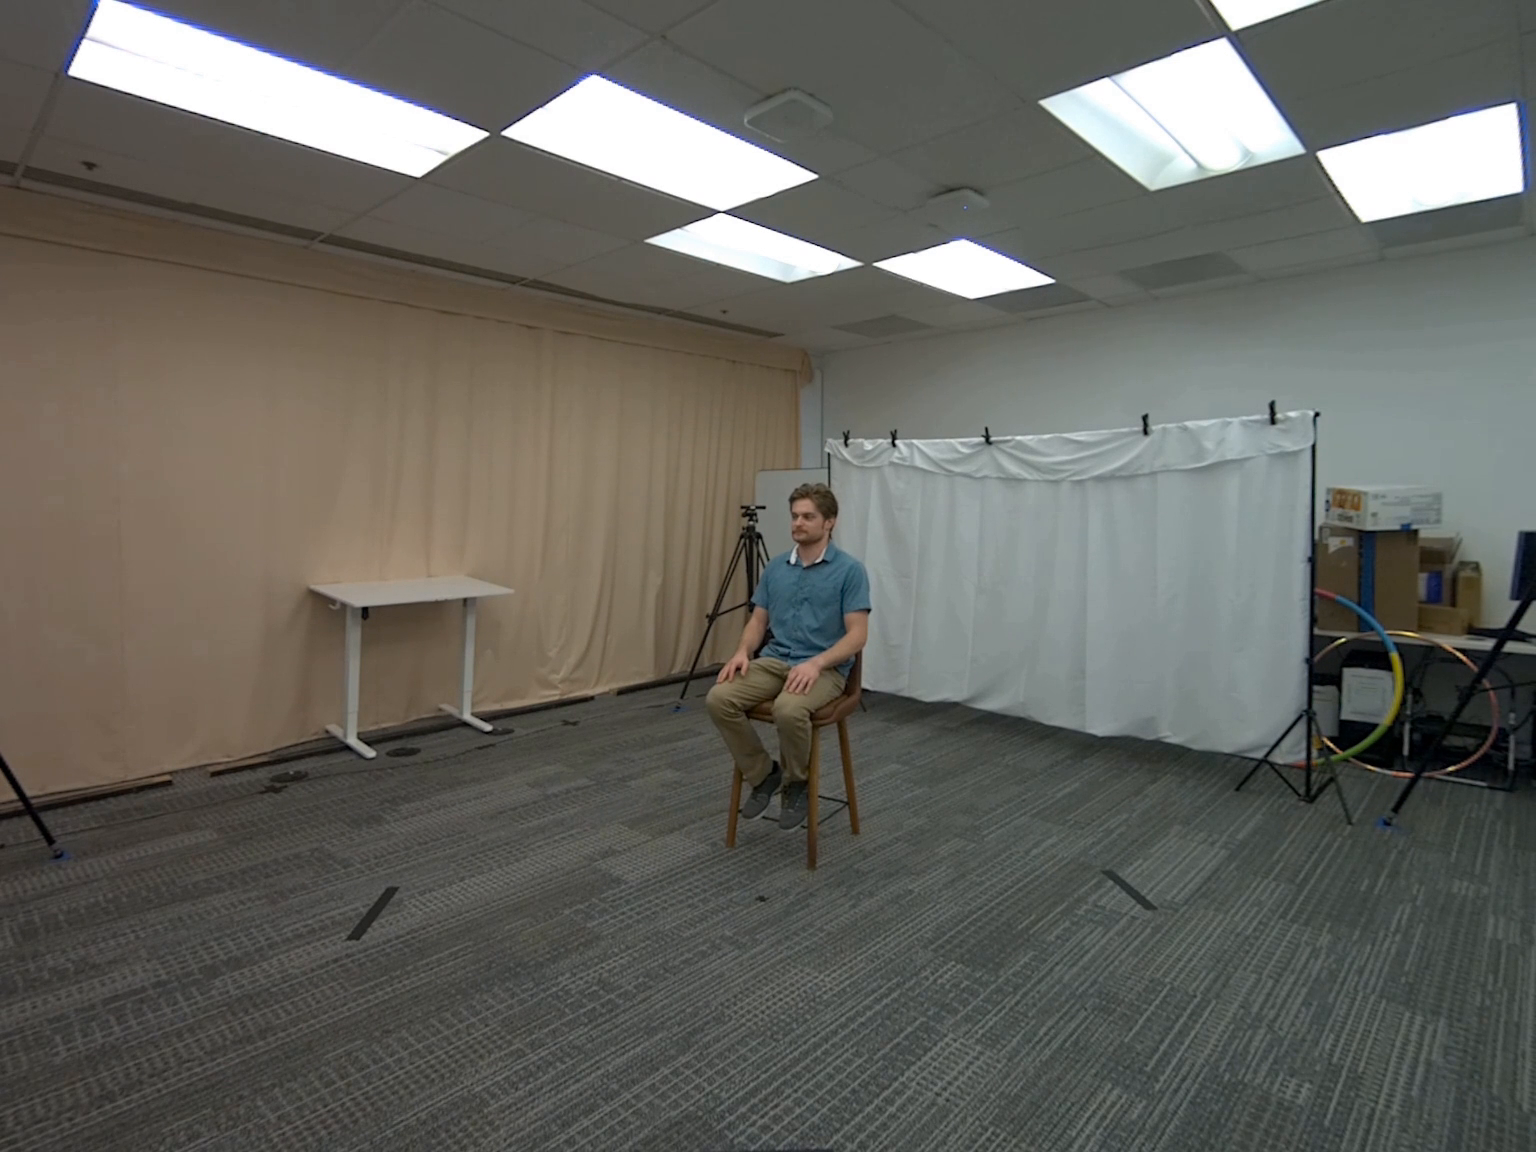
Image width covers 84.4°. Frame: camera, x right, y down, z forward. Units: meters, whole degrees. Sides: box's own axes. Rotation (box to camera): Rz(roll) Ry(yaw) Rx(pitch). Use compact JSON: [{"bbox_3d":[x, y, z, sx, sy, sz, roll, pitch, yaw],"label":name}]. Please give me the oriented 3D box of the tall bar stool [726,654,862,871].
[{"bbox_3d":[0.129,0.663,3.495,0.471,0.889,0.454,3,2,34],"label":"tall bar stool"}]
